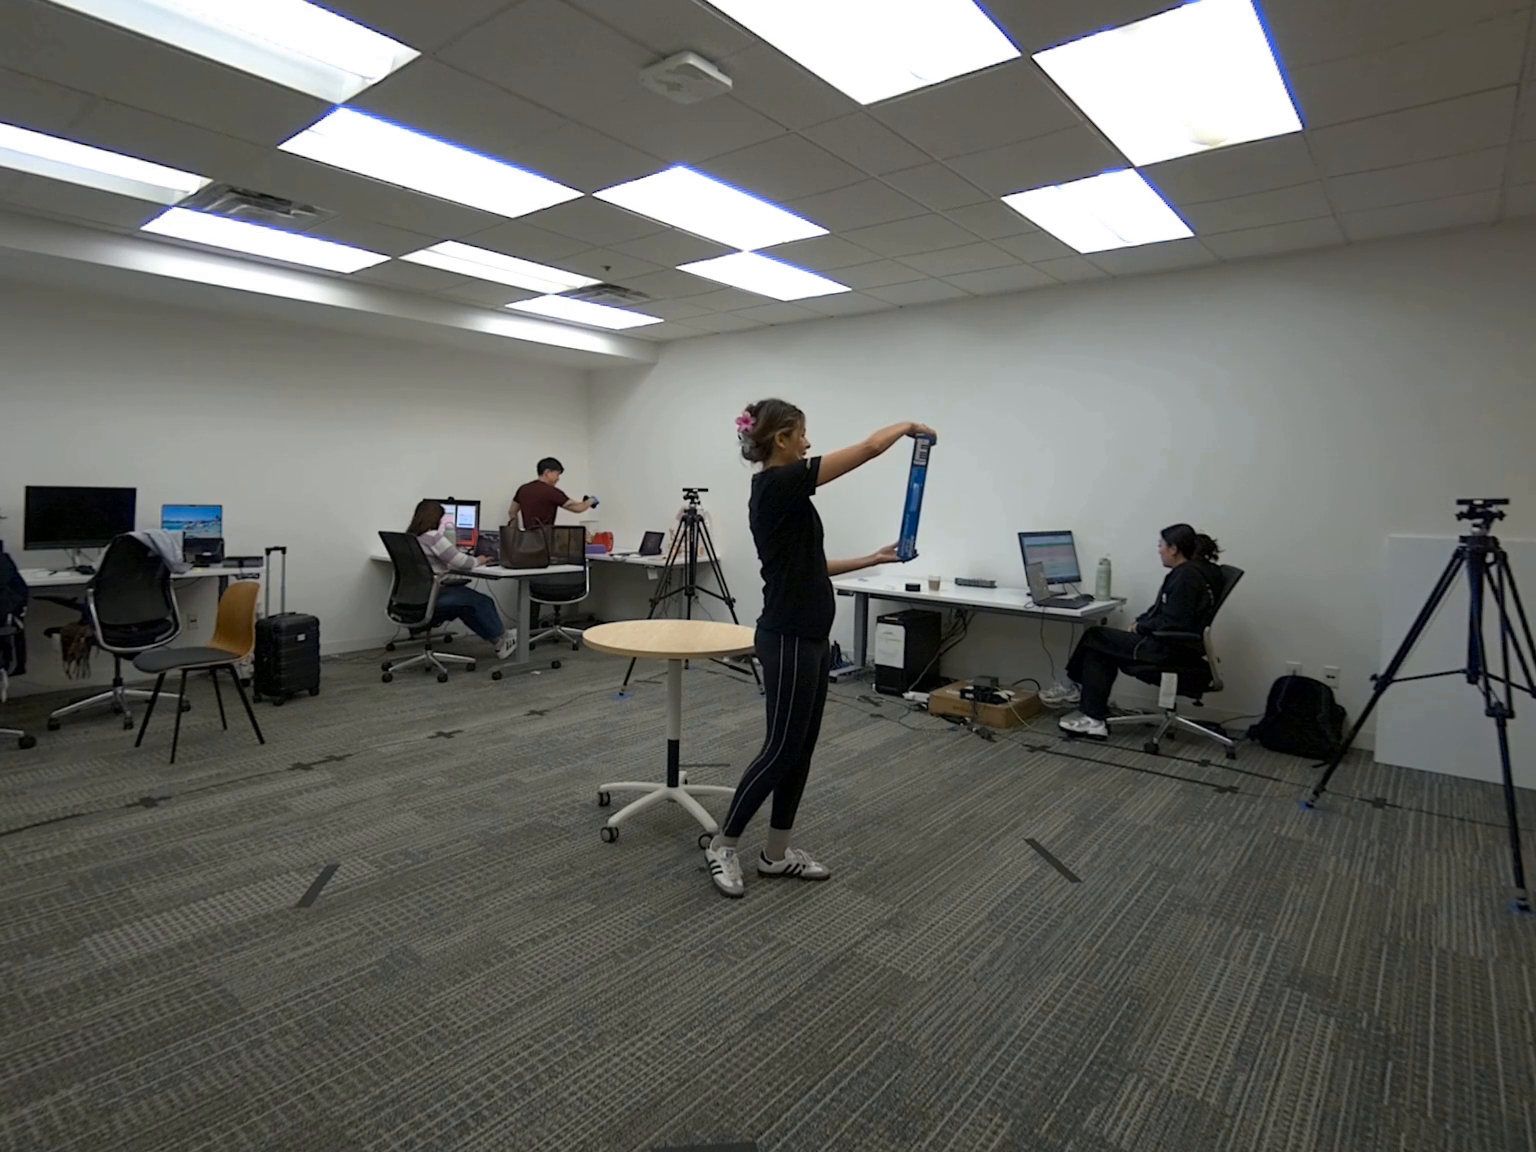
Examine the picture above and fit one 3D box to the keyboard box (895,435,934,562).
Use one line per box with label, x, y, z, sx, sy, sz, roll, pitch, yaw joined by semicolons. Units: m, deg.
keyboard box;0.525;-0.292;3.078;0.060;0.433;0.175;9;10;9
